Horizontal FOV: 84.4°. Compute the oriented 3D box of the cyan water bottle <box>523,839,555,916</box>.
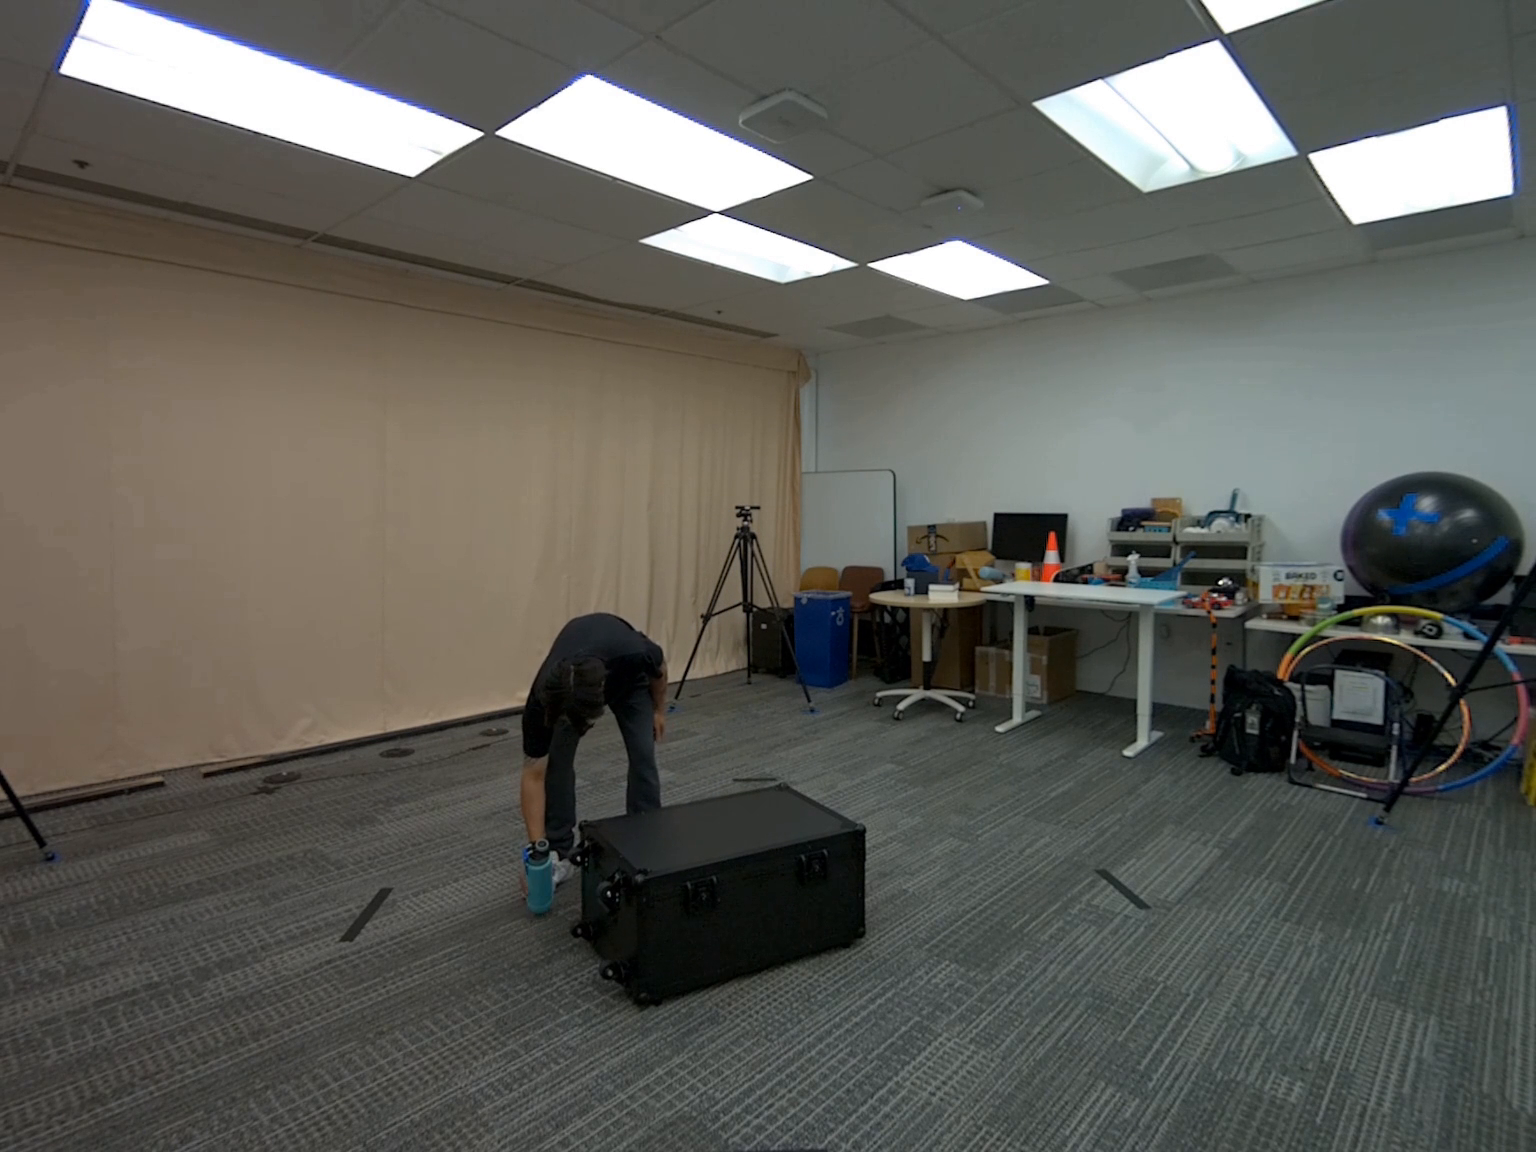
[{"bbox_3d":[-0.765,0.998,2.806,0.092,0.279,0.094,2,30,-3],"label":"cyan water bottle"}]
